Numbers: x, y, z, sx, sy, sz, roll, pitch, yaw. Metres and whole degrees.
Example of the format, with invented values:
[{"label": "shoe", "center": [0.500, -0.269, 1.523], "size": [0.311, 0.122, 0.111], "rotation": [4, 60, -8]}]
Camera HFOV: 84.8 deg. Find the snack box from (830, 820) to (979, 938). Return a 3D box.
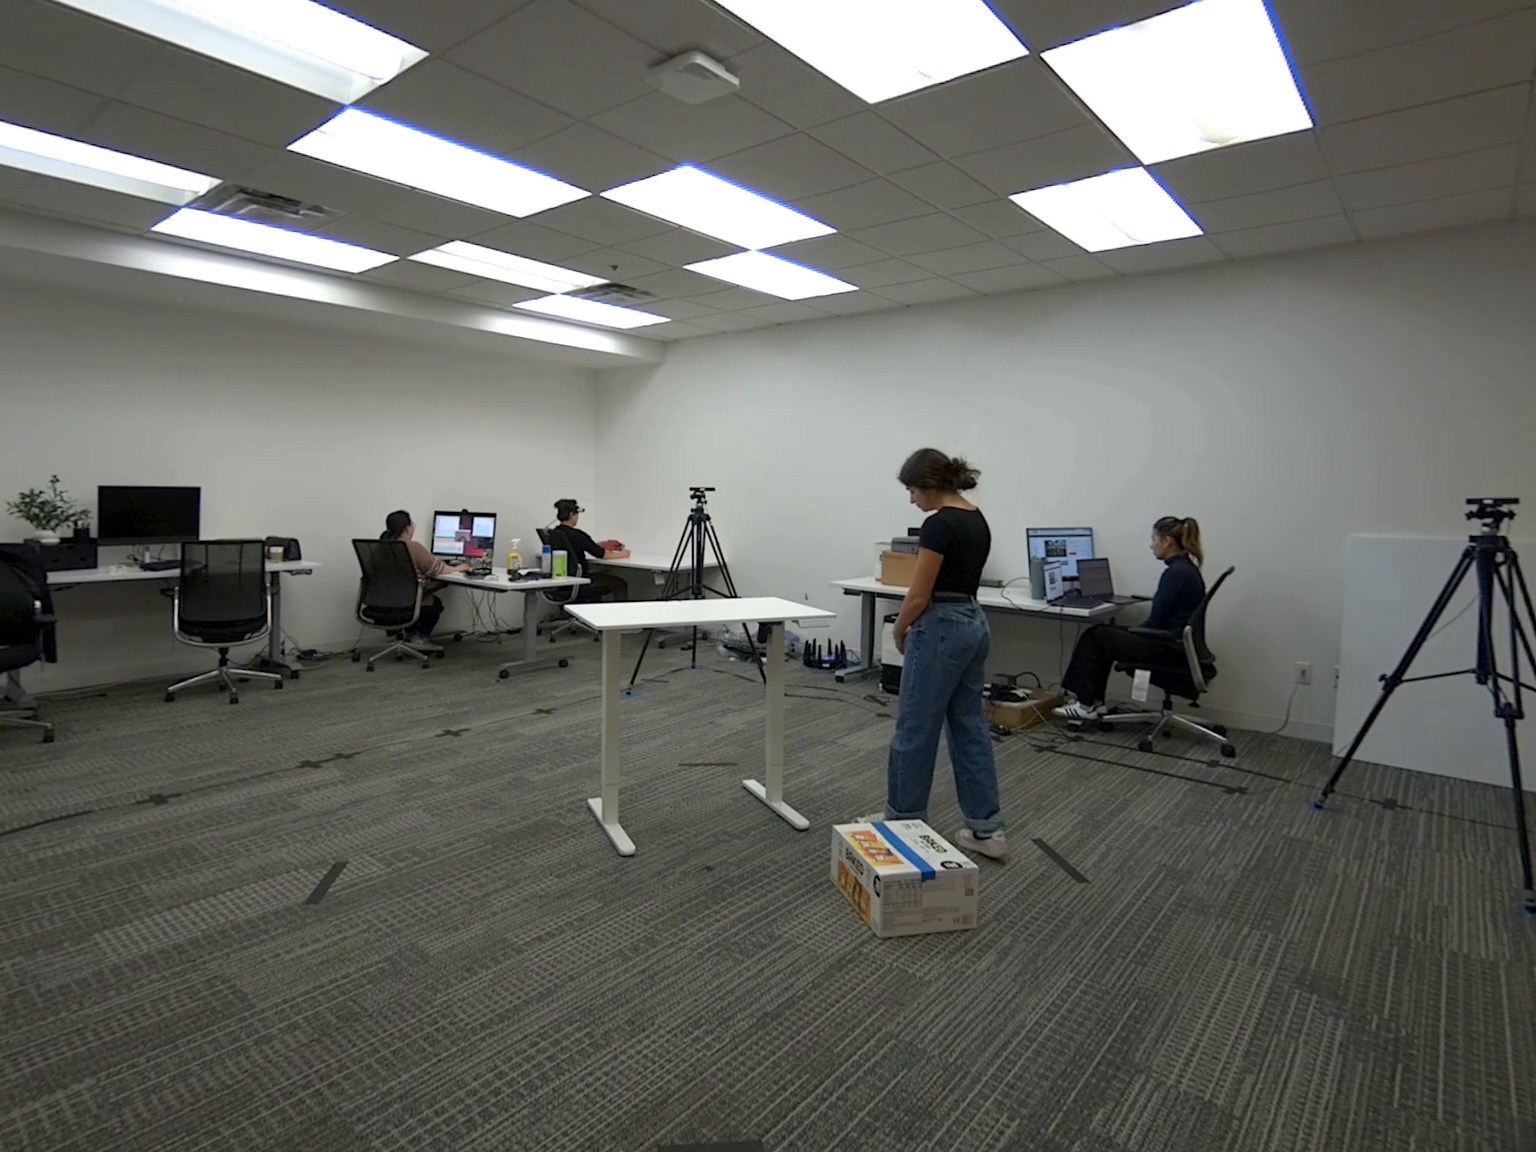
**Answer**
[{"label": "snack box", "center": [0.444, 1.004, 2.868], "size": [0.335, 0.205, 0.413], "rotation": [0, 5, -16]}]
